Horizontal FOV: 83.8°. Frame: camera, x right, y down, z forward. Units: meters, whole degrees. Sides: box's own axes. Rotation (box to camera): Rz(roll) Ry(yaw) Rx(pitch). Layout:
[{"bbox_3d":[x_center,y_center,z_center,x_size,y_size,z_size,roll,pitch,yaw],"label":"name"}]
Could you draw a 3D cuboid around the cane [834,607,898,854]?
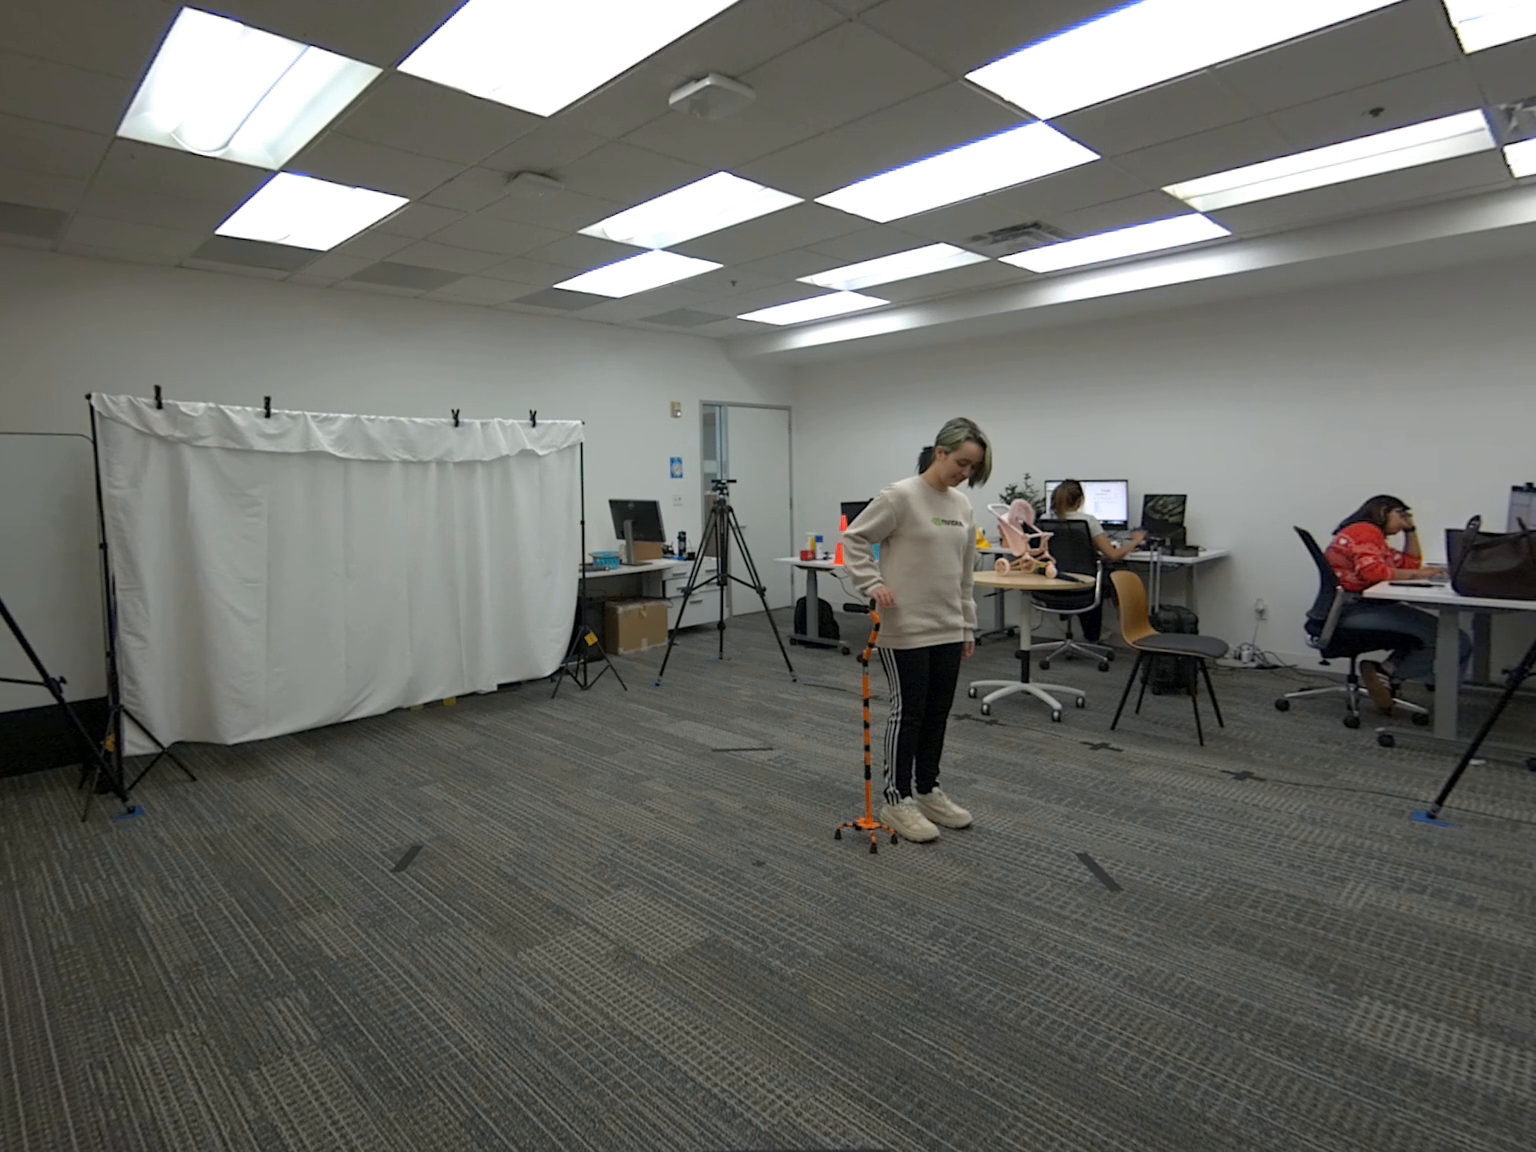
[{"bbox_3d":[0.371,0.565,3.262,0.147,0.905,0.213,-4,4,-39],"label":"cane"}]
